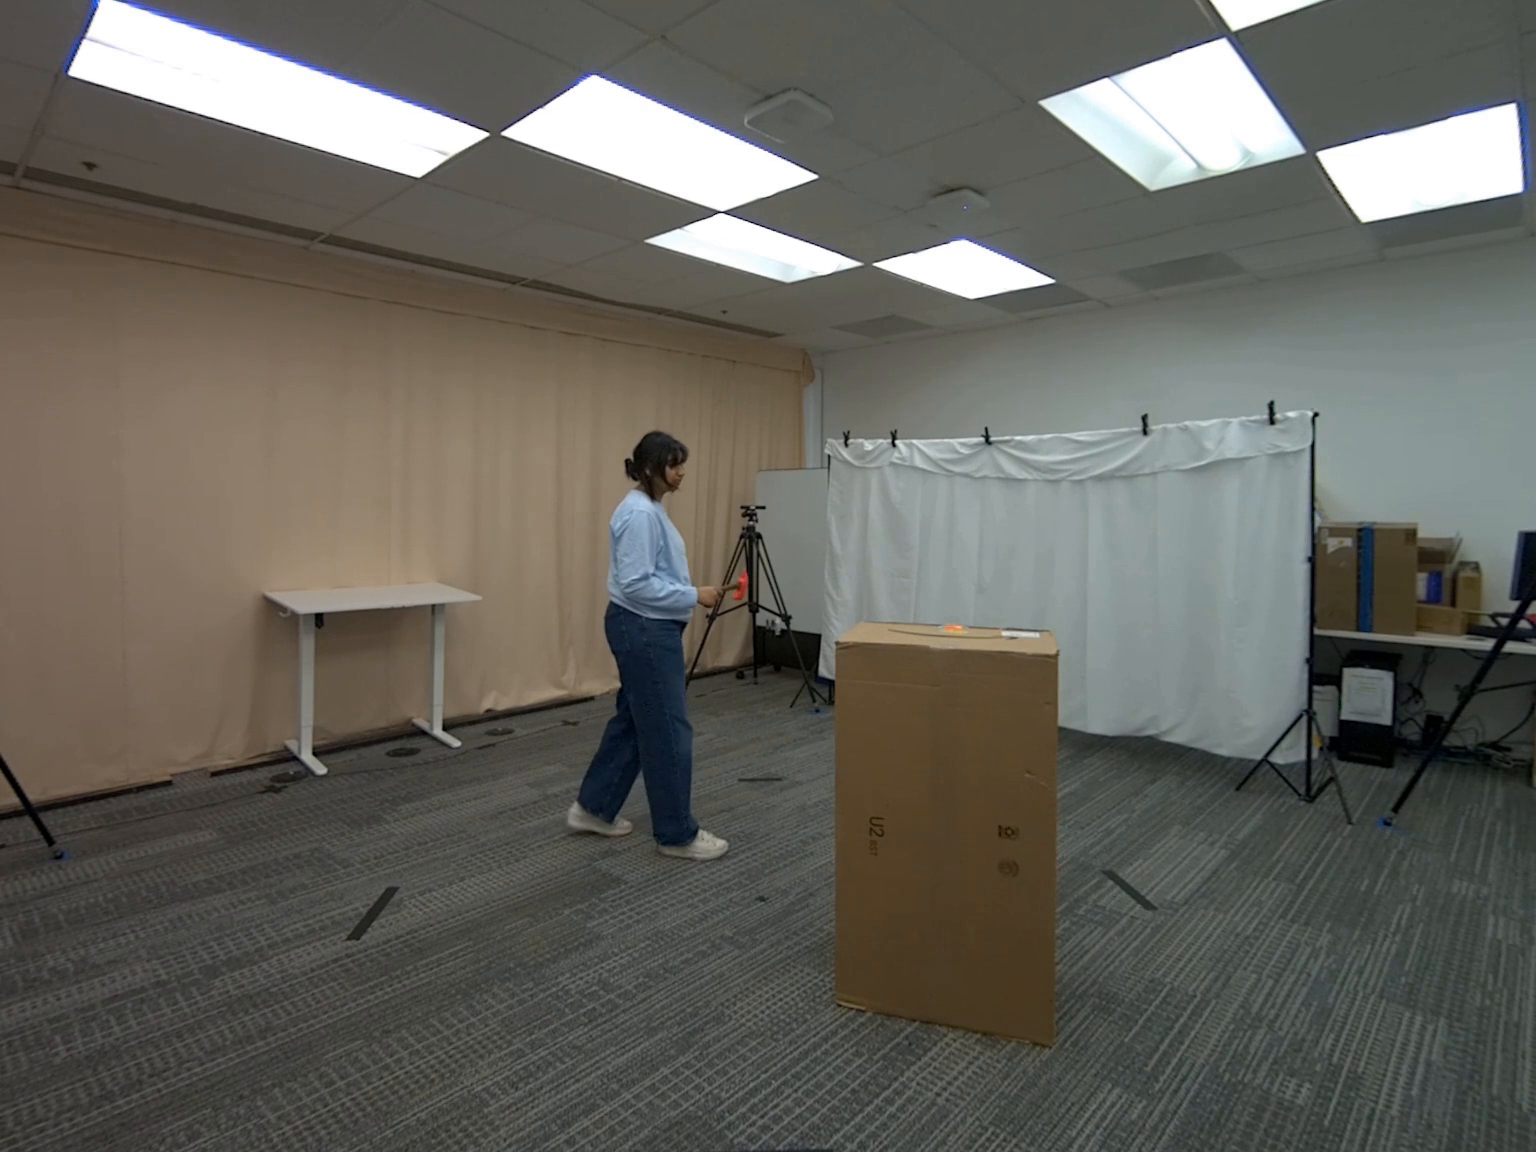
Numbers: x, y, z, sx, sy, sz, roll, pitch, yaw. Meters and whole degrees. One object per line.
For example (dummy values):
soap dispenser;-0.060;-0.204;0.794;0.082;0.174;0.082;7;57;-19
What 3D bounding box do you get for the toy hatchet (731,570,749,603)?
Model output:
toy hatchet;-0.182;0.084;3.417;0.266;0.128;0.031;-32;37;-26
